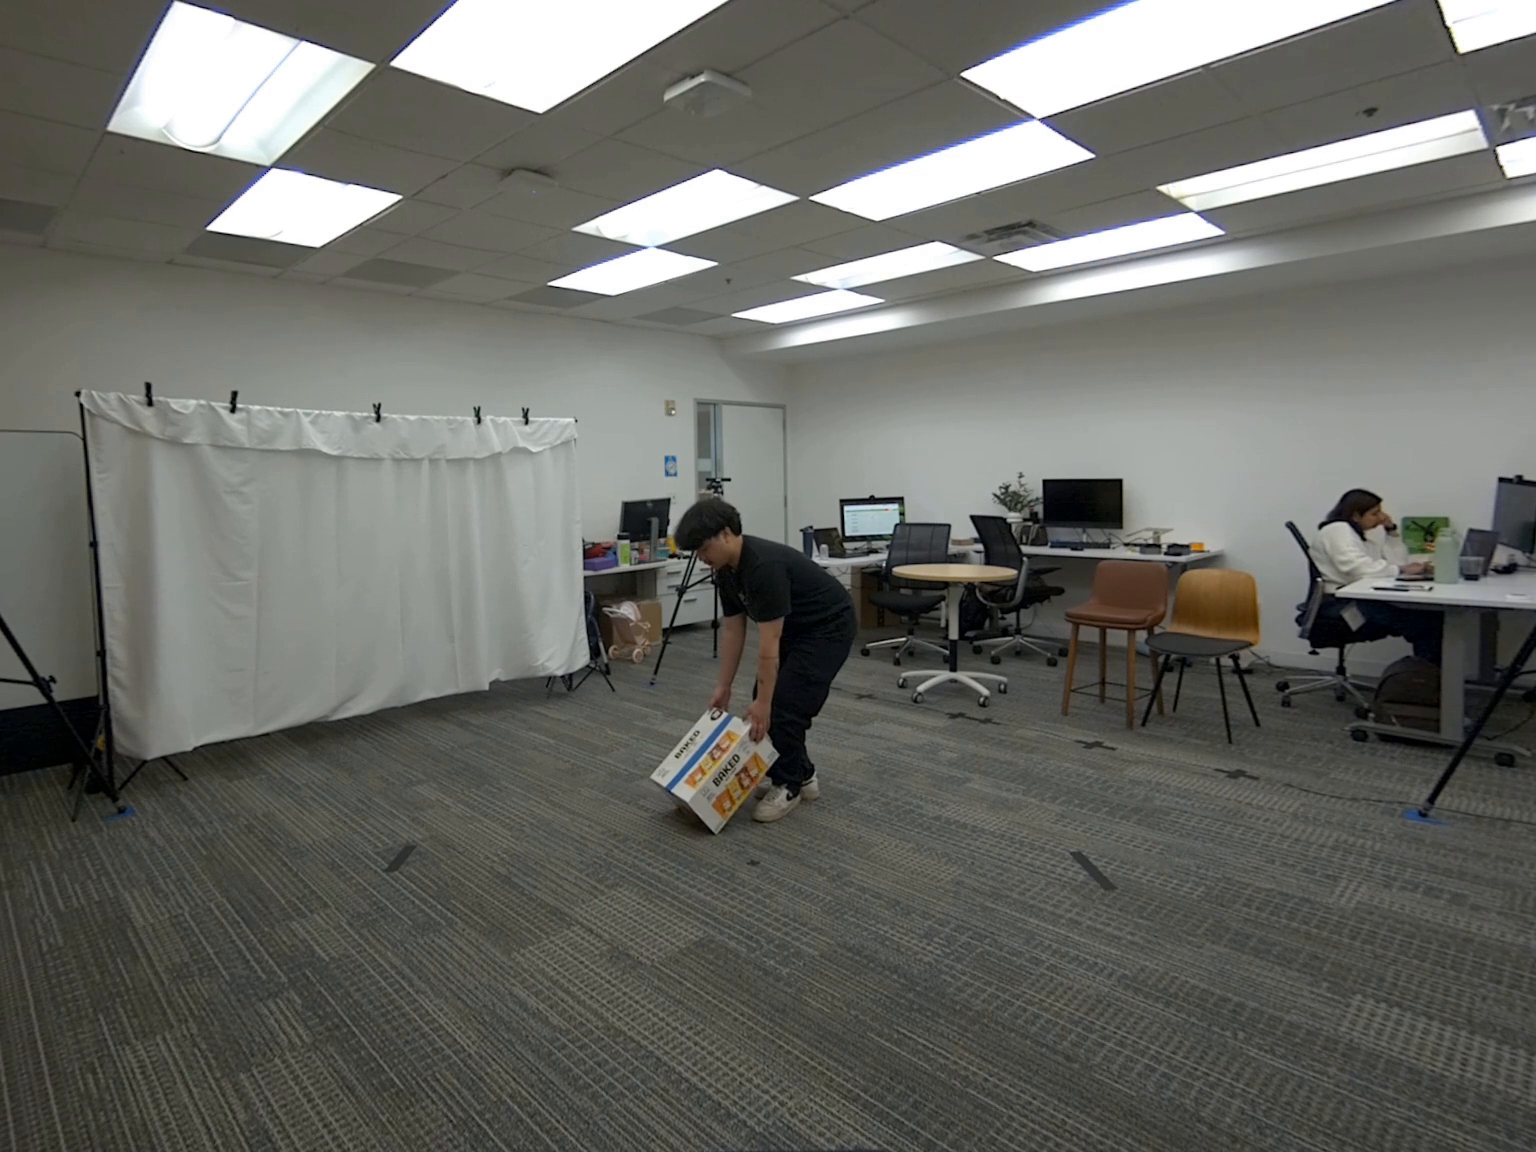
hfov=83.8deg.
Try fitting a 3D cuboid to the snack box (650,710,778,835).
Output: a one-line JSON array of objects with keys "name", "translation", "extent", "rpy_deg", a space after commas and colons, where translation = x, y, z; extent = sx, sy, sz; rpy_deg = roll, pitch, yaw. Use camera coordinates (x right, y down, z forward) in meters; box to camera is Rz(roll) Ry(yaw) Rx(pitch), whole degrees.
[{"name": "snack box", "translation": [-0.225, 0.791, 3.535], "extent": [0.405, 0.200, 0.350], "rpy_deg": [-48, 25, -20]}]
